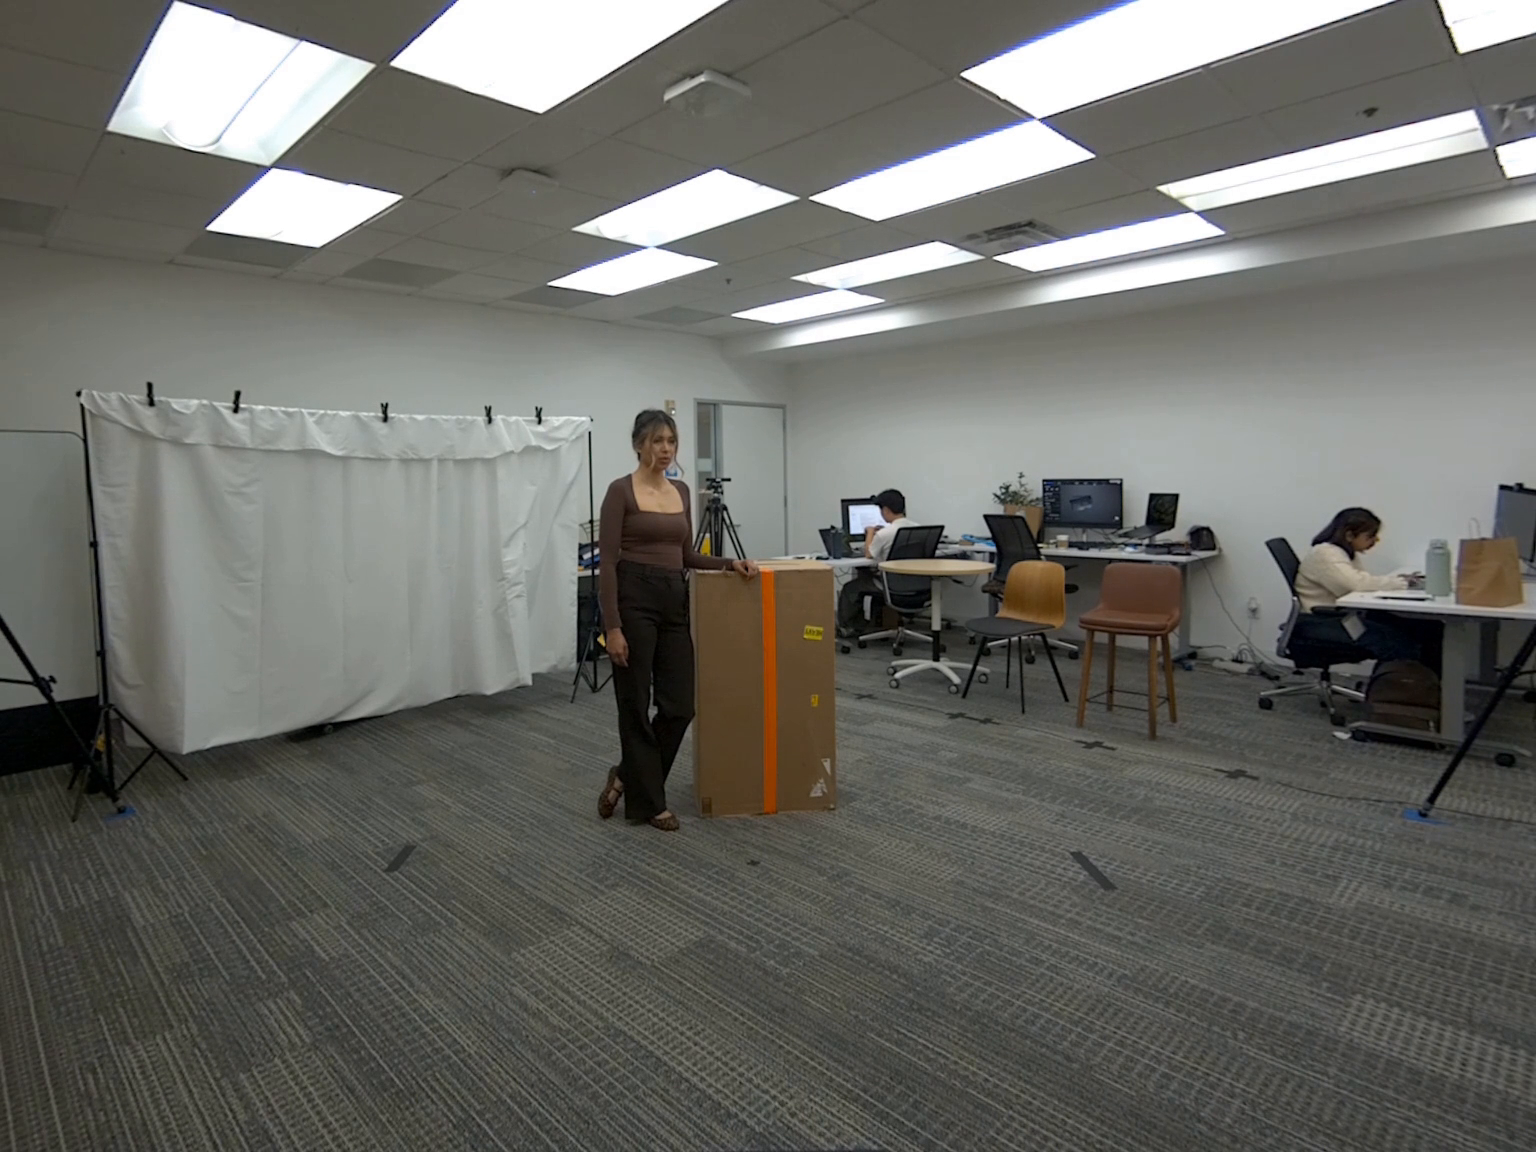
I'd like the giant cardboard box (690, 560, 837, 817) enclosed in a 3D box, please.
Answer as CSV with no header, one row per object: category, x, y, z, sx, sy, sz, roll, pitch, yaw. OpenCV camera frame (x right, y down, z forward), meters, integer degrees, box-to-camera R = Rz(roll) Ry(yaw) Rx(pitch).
giant cardboard box,-0.030,0.461,3.740,0.579,1.024,0.452,-1,4,-8
